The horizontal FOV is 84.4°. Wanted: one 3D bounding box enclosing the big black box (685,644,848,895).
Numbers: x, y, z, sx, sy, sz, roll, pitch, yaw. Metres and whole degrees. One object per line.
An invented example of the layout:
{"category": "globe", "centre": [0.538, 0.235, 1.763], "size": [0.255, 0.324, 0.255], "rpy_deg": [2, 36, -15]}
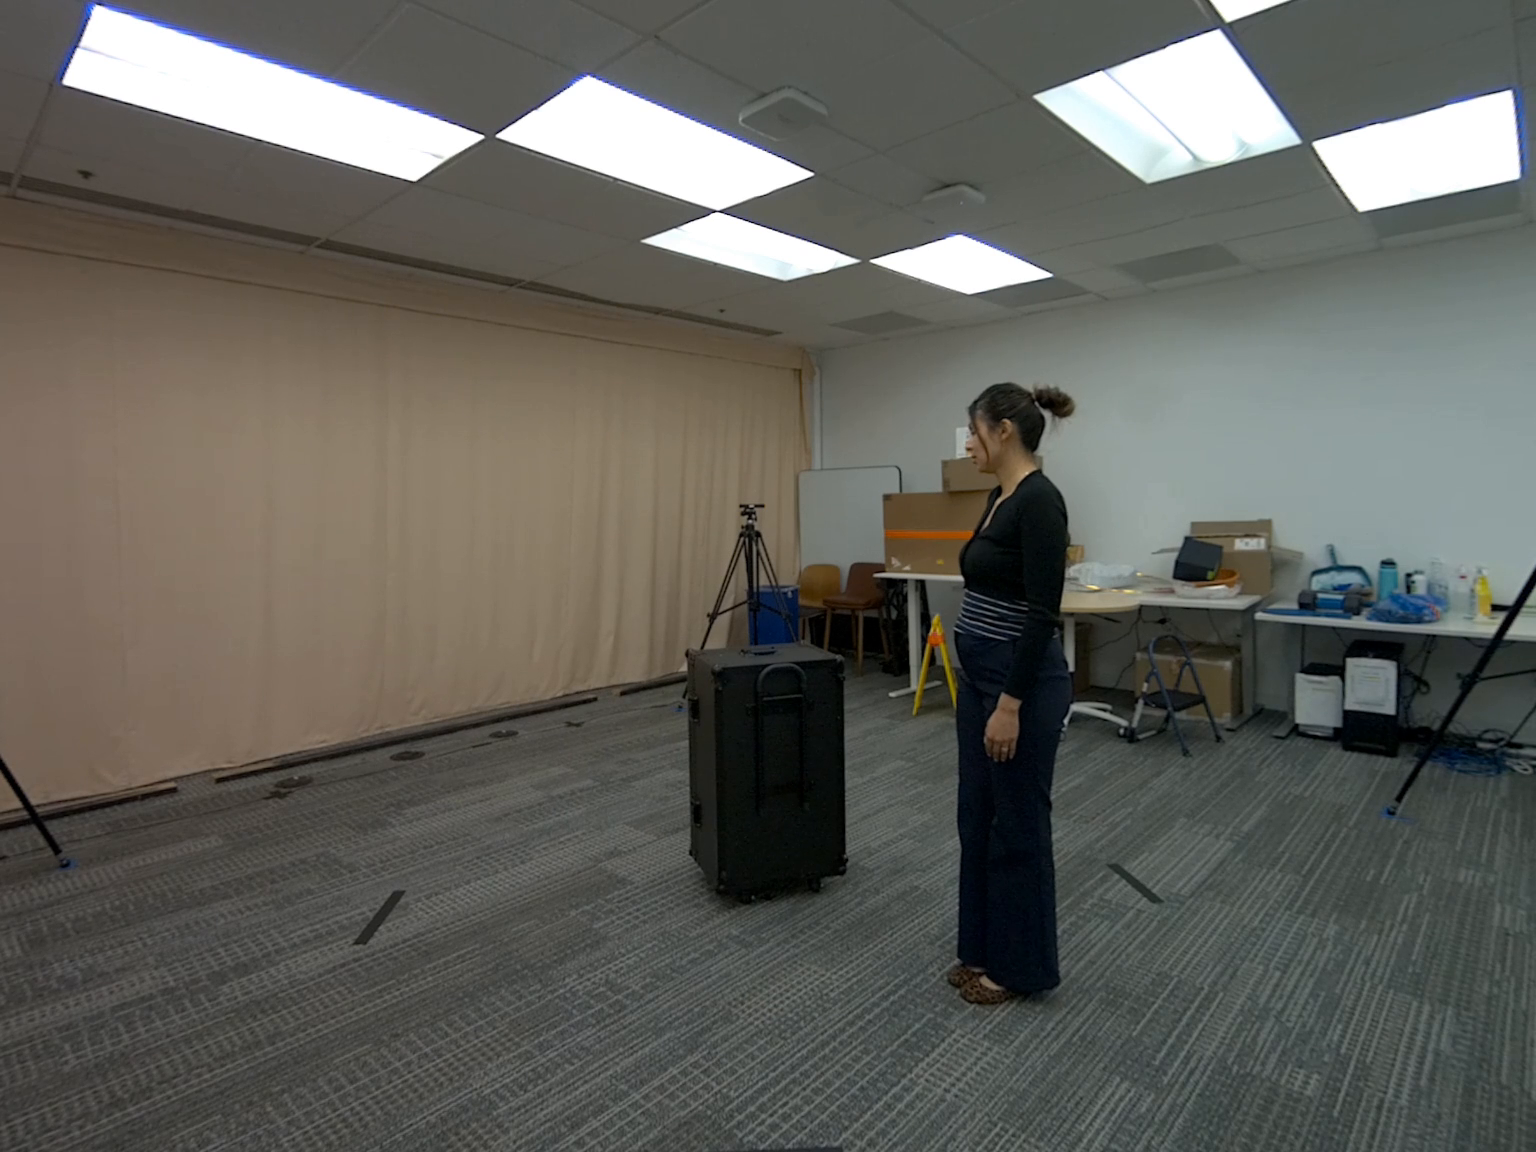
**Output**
{"category": "big black box", "centre": [-0.008, 0.646, 3.061], "size": [0.511, 0.860, 0.405], "rpy_deg": [-2, 3, -20]}
